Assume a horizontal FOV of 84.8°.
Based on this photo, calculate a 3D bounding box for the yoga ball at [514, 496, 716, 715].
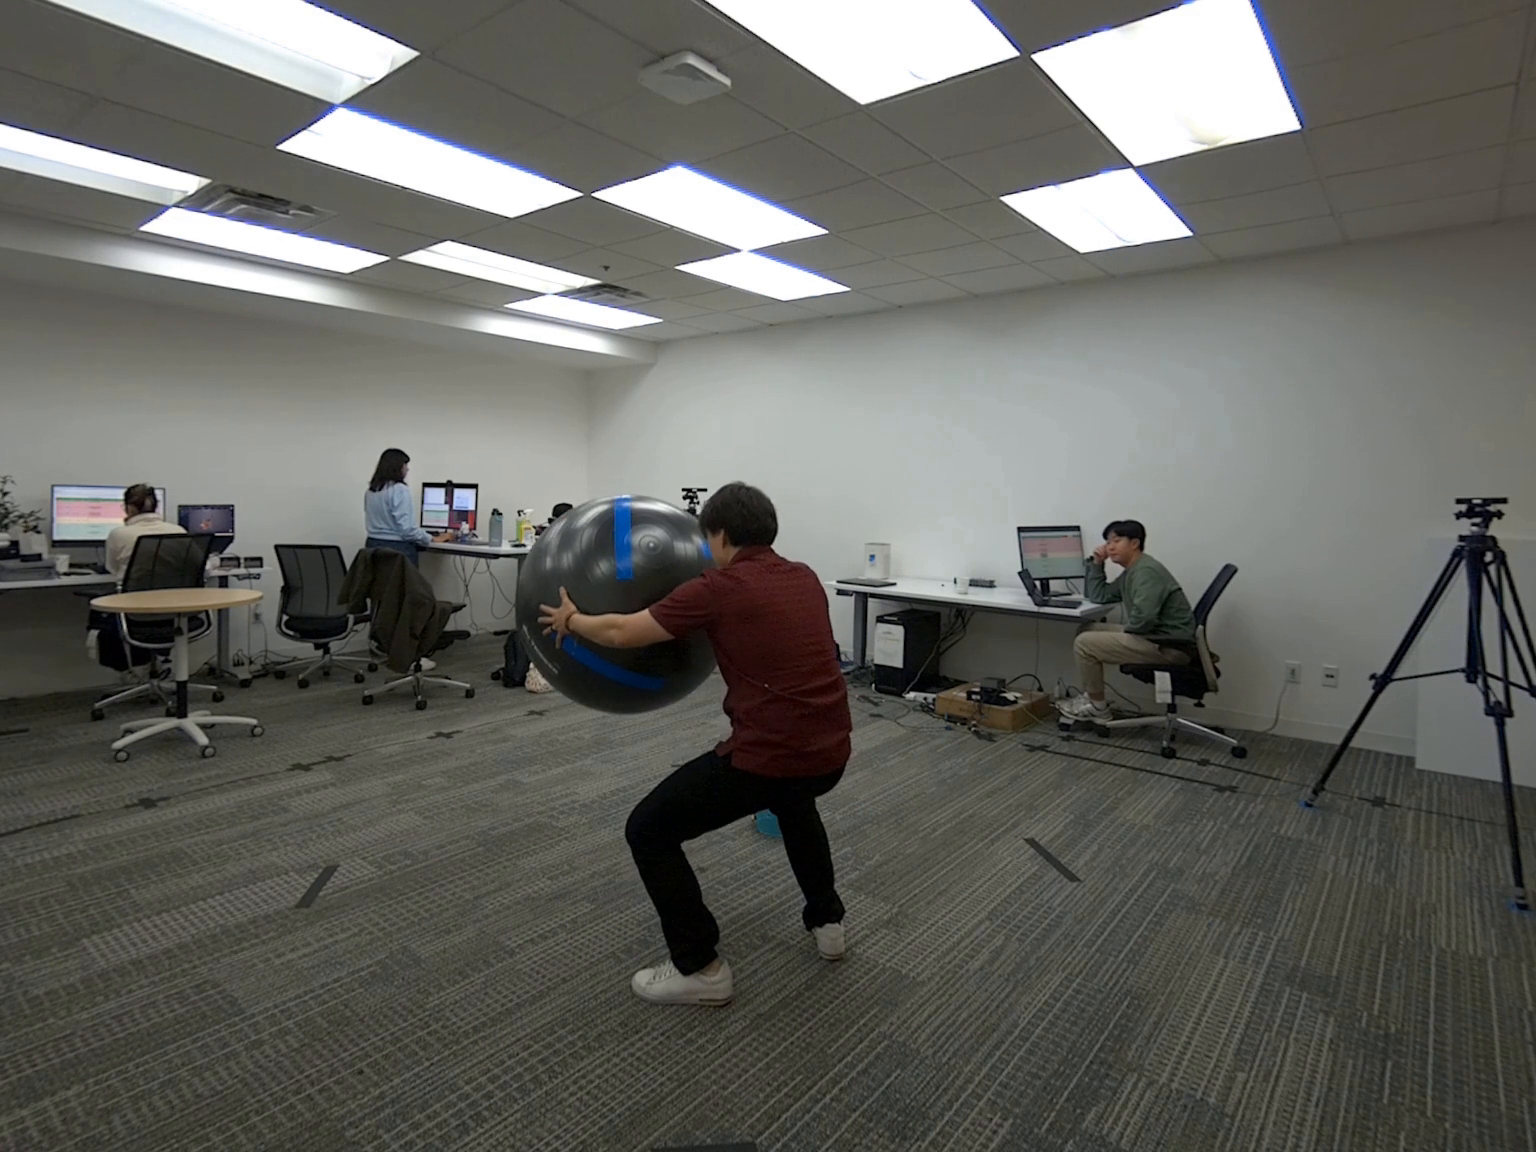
[{"bbox_3d":[-0.503,0.097,2.967,0.757,0.756,0.762,1,4,-2],"label":"yoga ball"}]
